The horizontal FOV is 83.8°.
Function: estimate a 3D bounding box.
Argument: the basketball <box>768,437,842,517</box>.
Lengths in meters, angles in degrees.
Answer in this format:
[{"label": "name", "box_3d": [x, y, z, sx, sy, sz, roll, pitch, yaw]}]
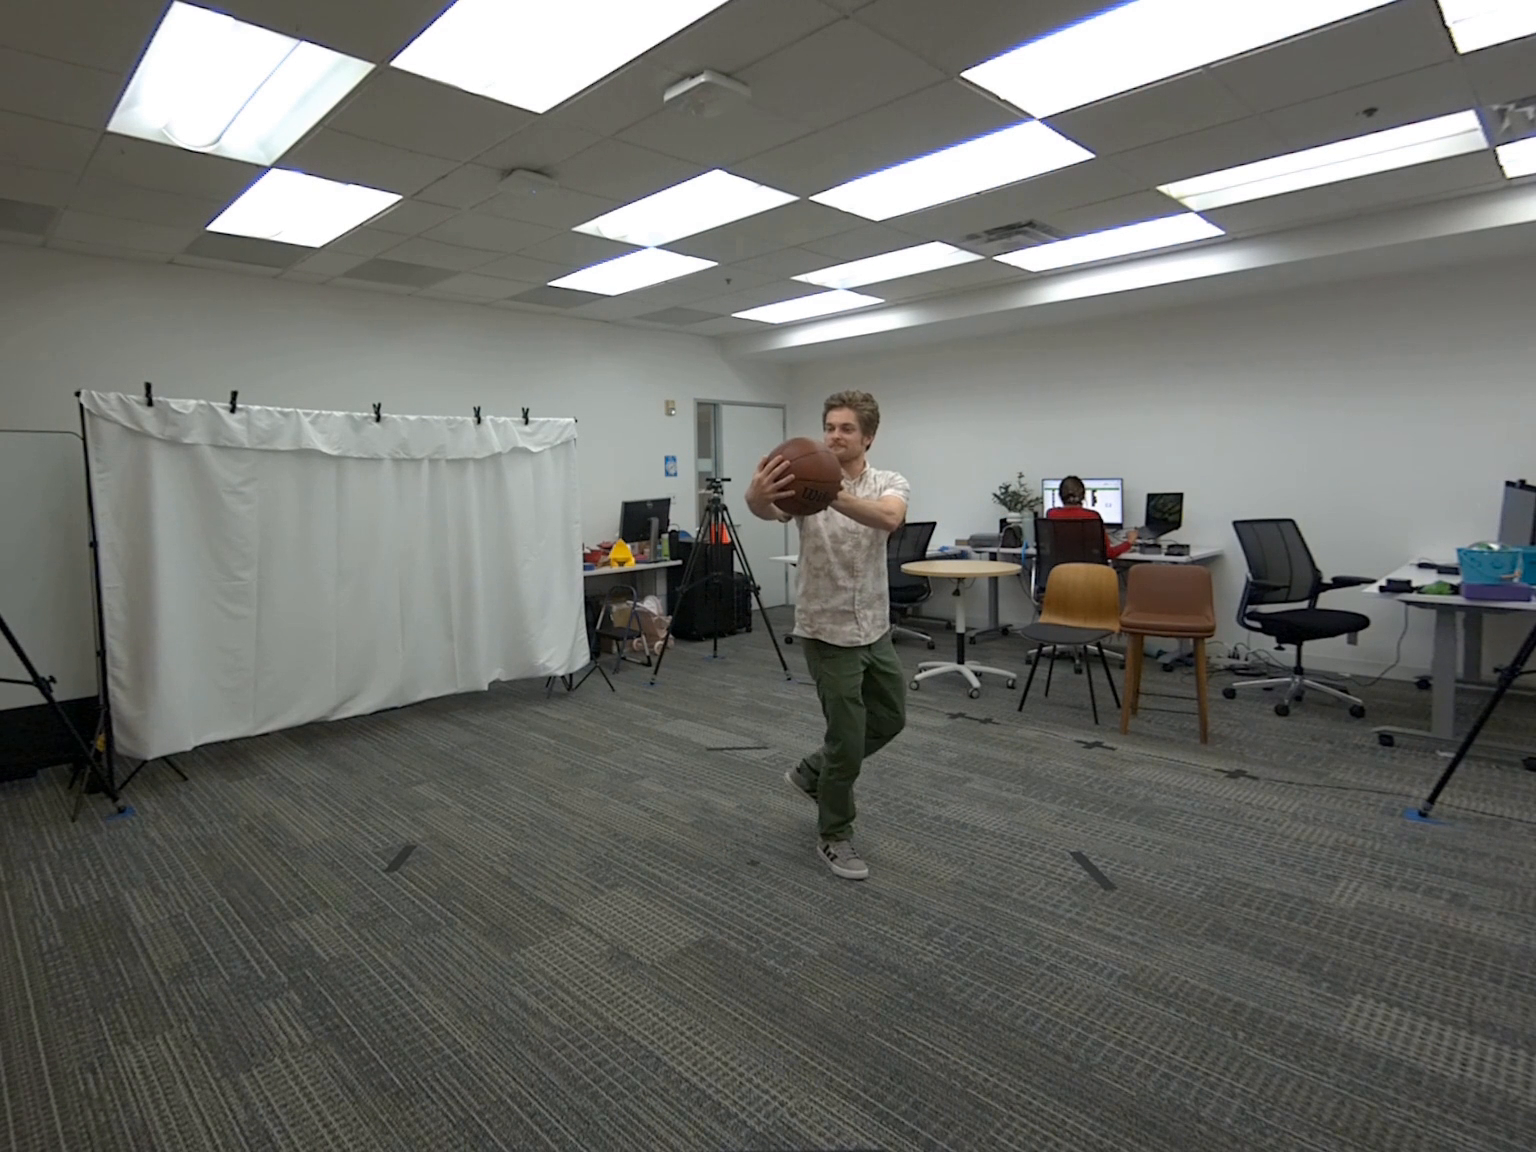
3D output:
[{"label": "basketball", "box_3d": [0.107, -0.302, 2.586, 0.236, 0.235, 0.237, -1, 5, -2]}]
